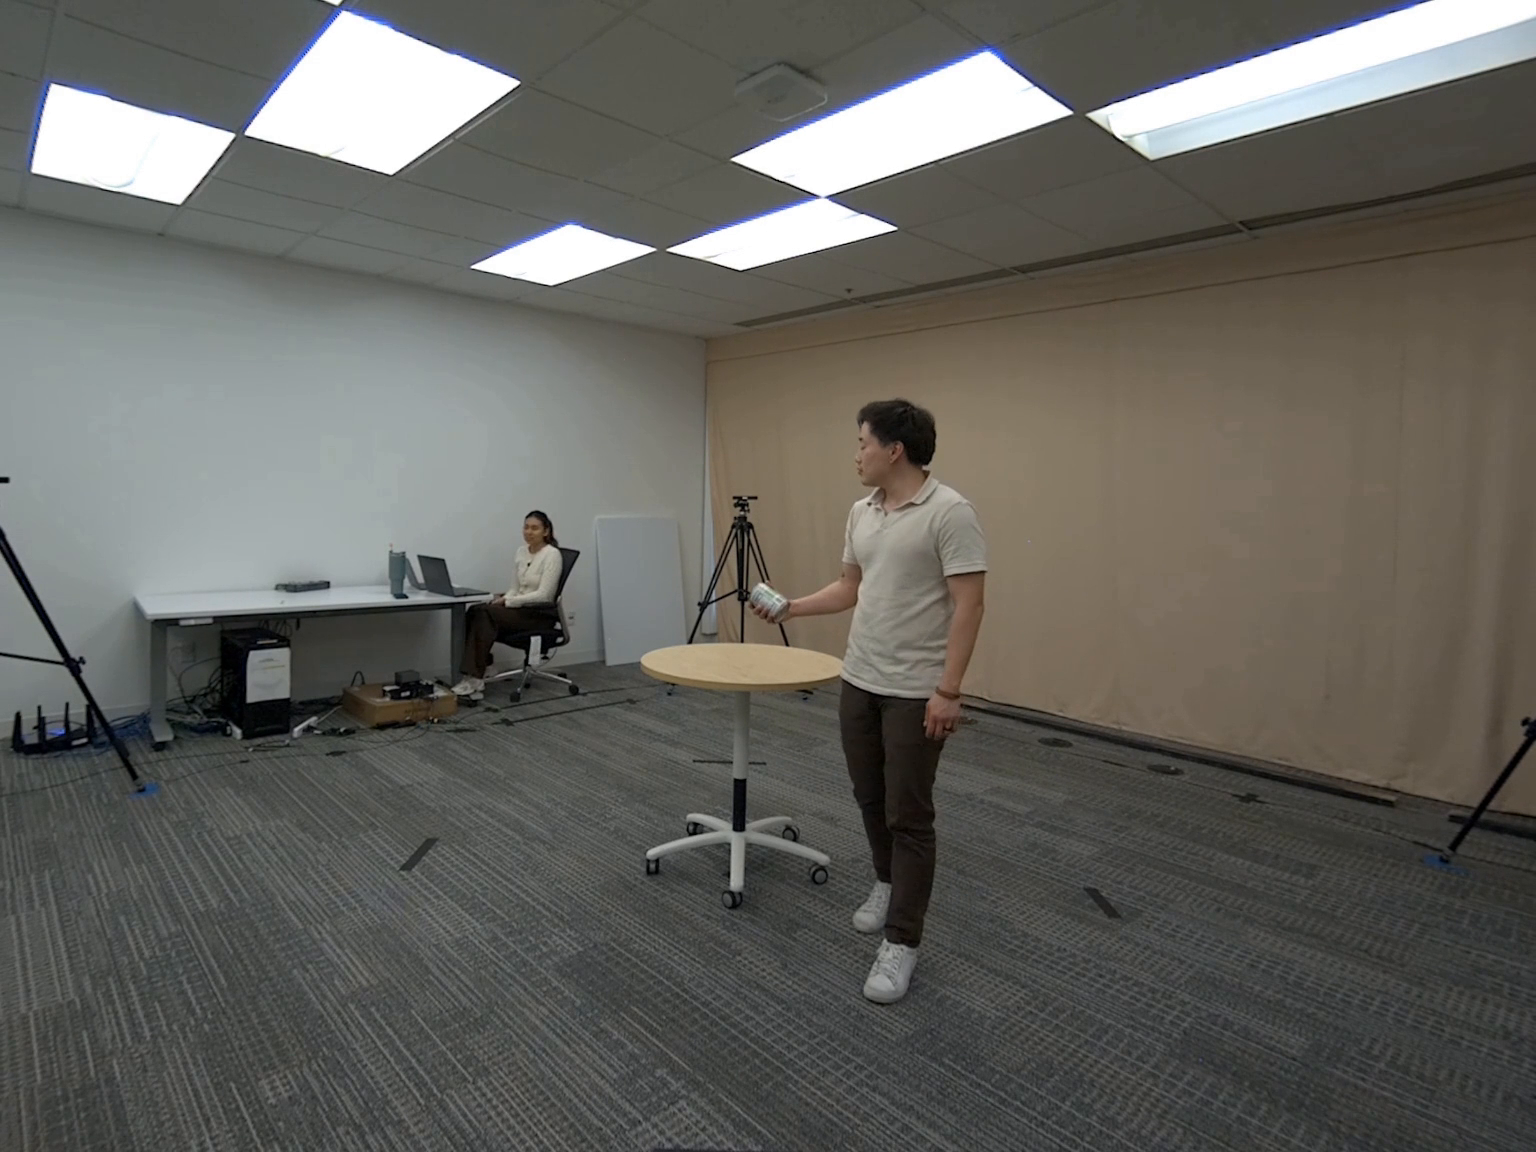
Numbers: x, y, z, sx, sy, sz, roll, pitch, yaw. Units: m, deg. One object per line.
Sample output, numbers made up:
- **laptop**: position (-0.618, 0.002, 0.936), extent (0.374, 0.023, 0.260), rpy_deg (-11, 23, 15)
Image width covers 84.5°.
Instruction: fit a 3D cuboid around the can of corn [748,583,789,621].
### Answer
- **can of corn**: position (-0.002, 0.076, 2.614), extent (0.112, 0.074, 0.073), rpy_deg (25, 10, 12)
